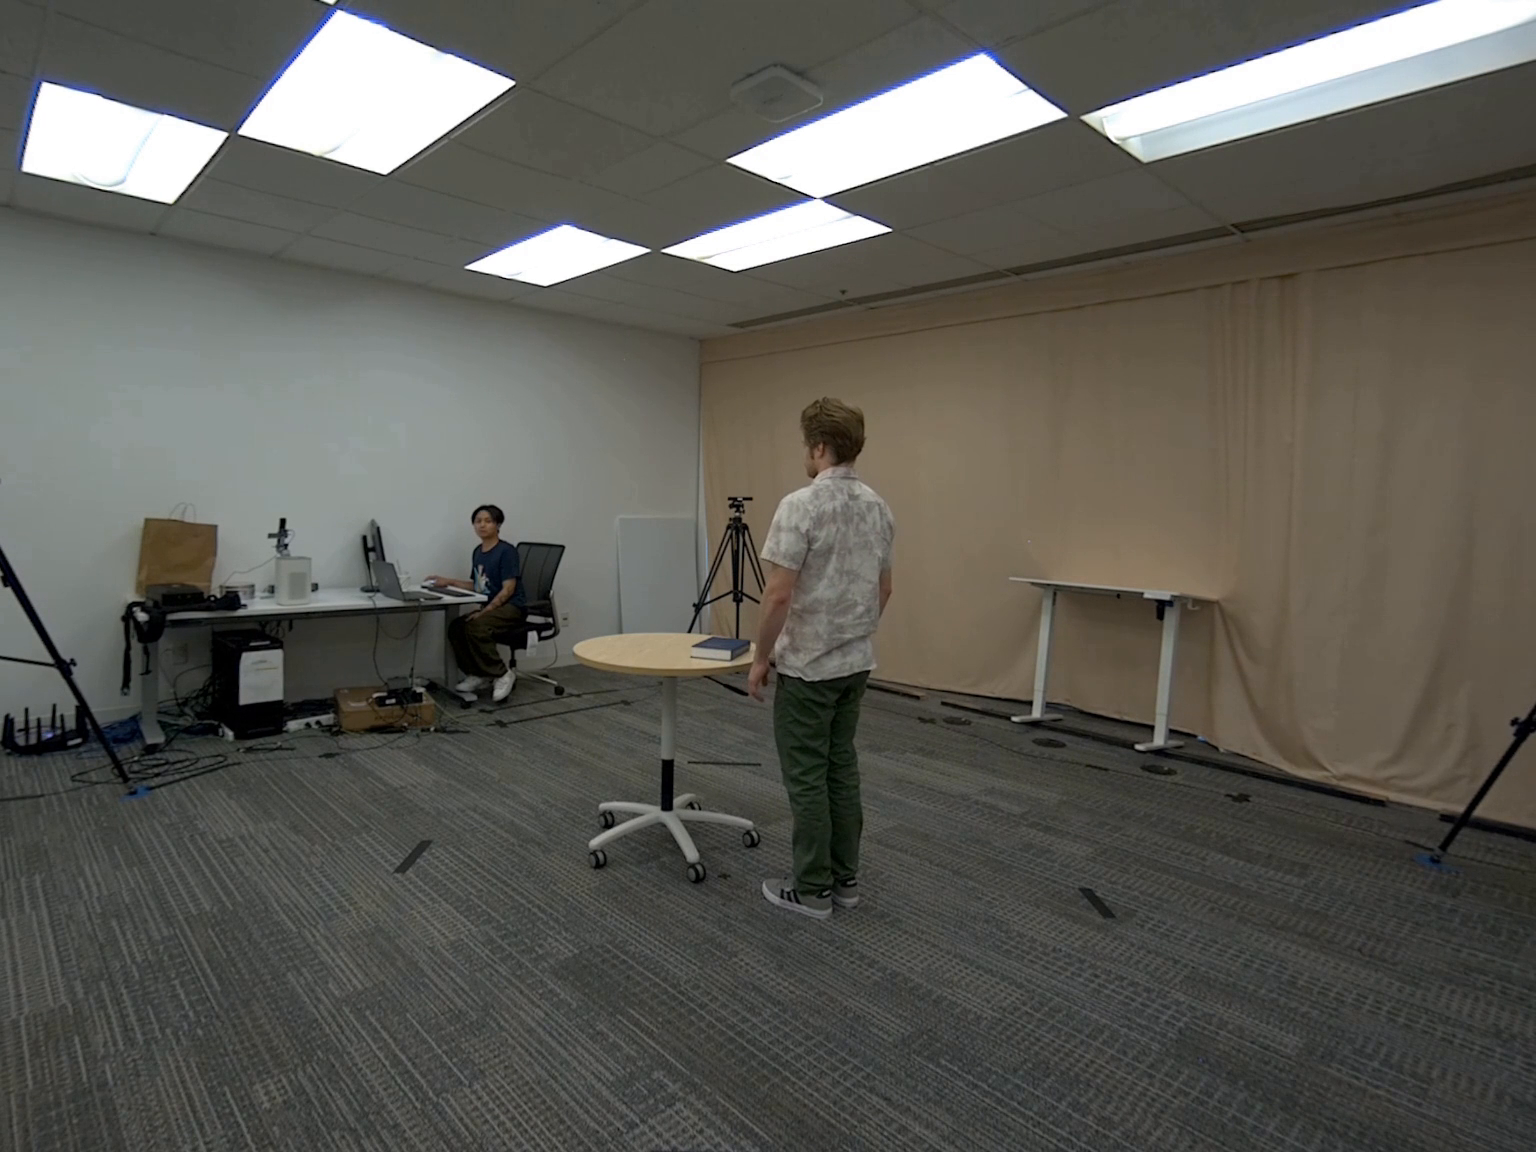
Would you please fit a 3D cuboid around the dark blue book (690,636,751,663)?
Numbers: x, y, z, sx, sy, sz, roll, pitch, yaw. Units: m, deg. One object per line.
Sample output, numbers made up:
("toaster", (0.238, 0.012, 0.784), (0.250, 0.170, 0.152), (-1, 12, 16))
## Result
("dark blue book", (-0.185, 0.282, 3.260), (0.166, 0.045, 0.242), (3, 6, 16))
